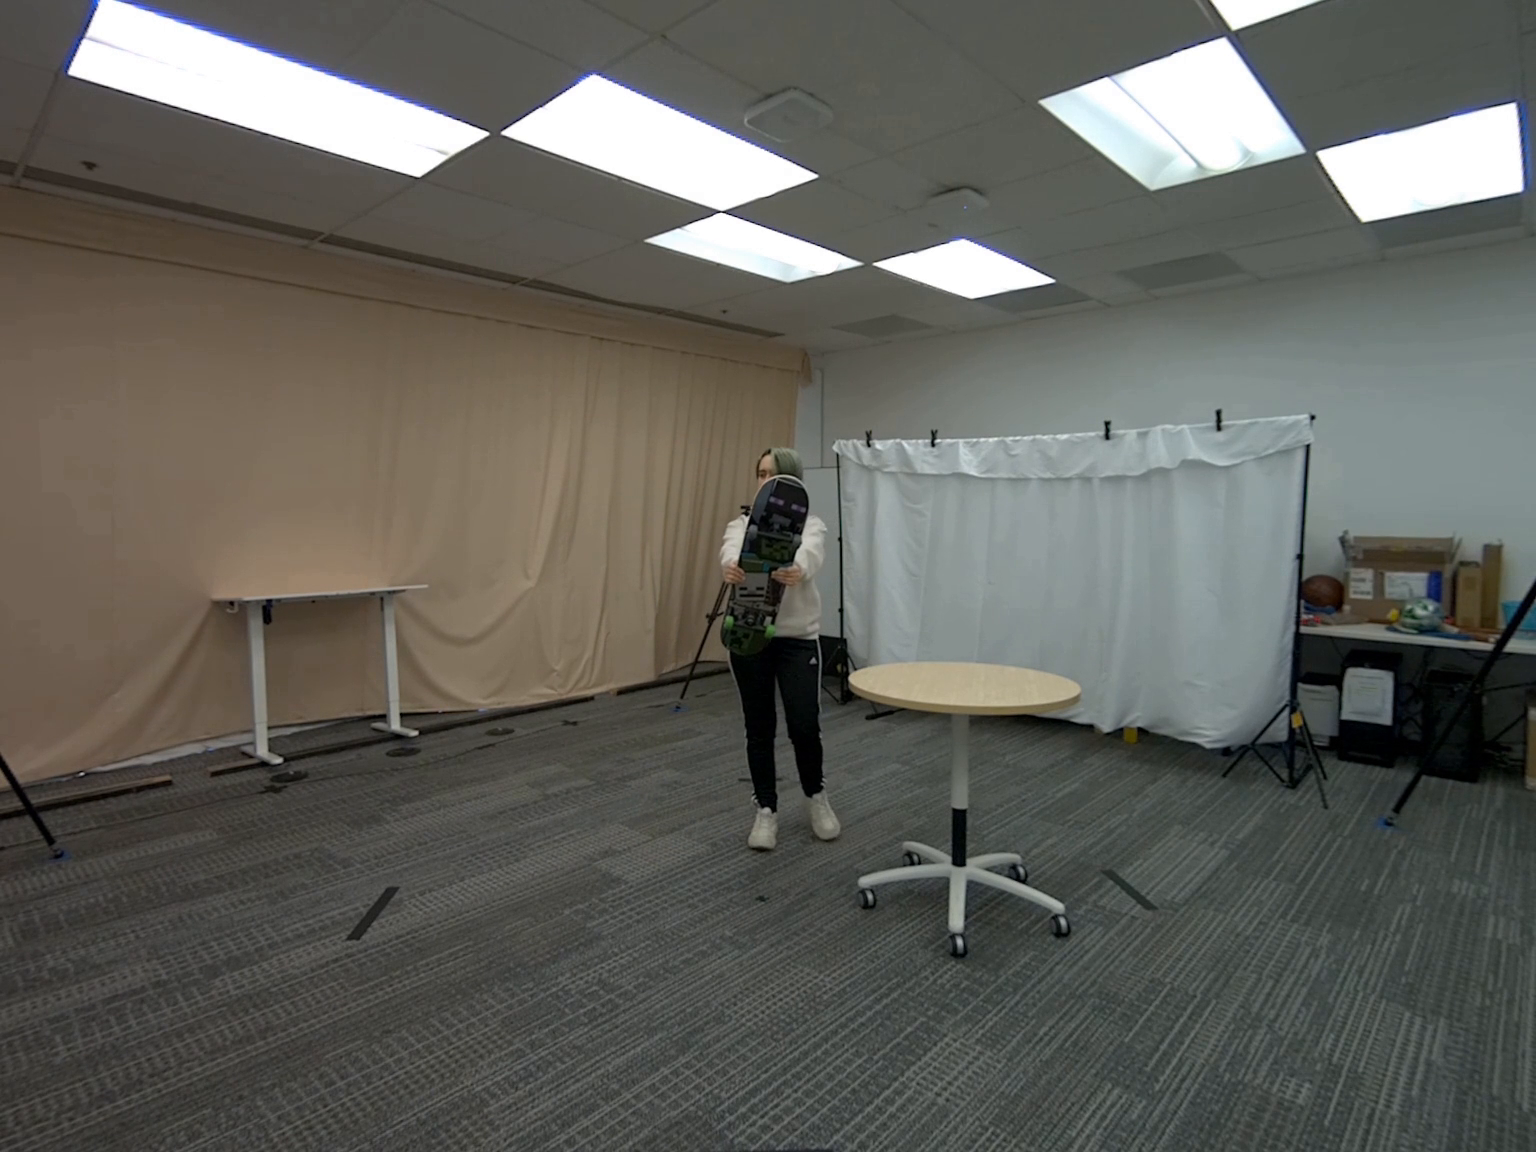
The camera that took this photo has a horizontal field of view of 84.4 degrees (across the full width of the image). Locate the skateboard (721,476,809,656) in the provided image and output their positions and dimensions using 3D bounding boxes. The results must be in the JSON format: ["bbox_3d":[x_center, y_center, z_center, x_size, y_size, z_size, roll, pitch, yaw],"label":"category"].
[{"bbox_3d":[0.002,0.009,2.985,0.193,0.777,0.112,13,33,-2],"label":"skateboard"}]
